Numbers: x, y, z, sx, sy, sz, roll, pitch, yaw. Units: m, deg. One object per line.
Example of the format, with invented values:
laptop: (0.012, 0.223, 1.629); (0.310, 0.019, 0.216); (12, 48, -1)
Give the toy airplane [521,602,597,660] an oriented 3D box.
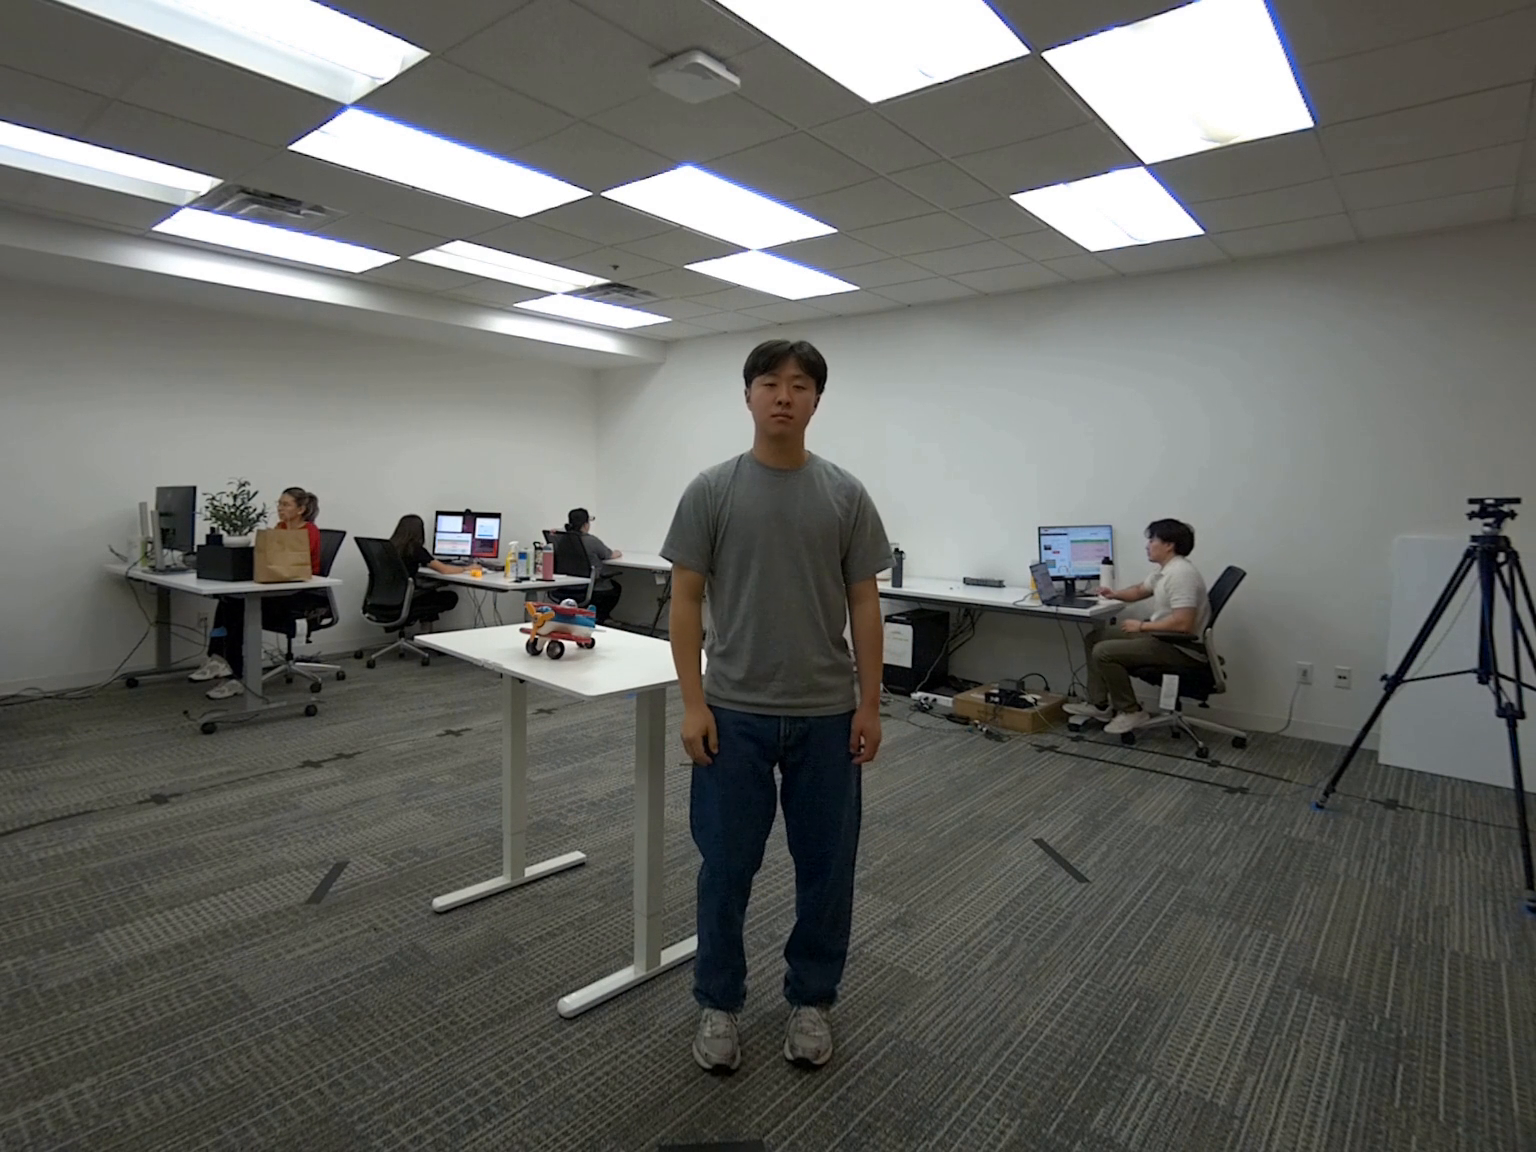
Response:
toy airplane: (-0.641, 0.153, 2.580); (0.252, 0.155, 0.259); (2, 7, 4)
